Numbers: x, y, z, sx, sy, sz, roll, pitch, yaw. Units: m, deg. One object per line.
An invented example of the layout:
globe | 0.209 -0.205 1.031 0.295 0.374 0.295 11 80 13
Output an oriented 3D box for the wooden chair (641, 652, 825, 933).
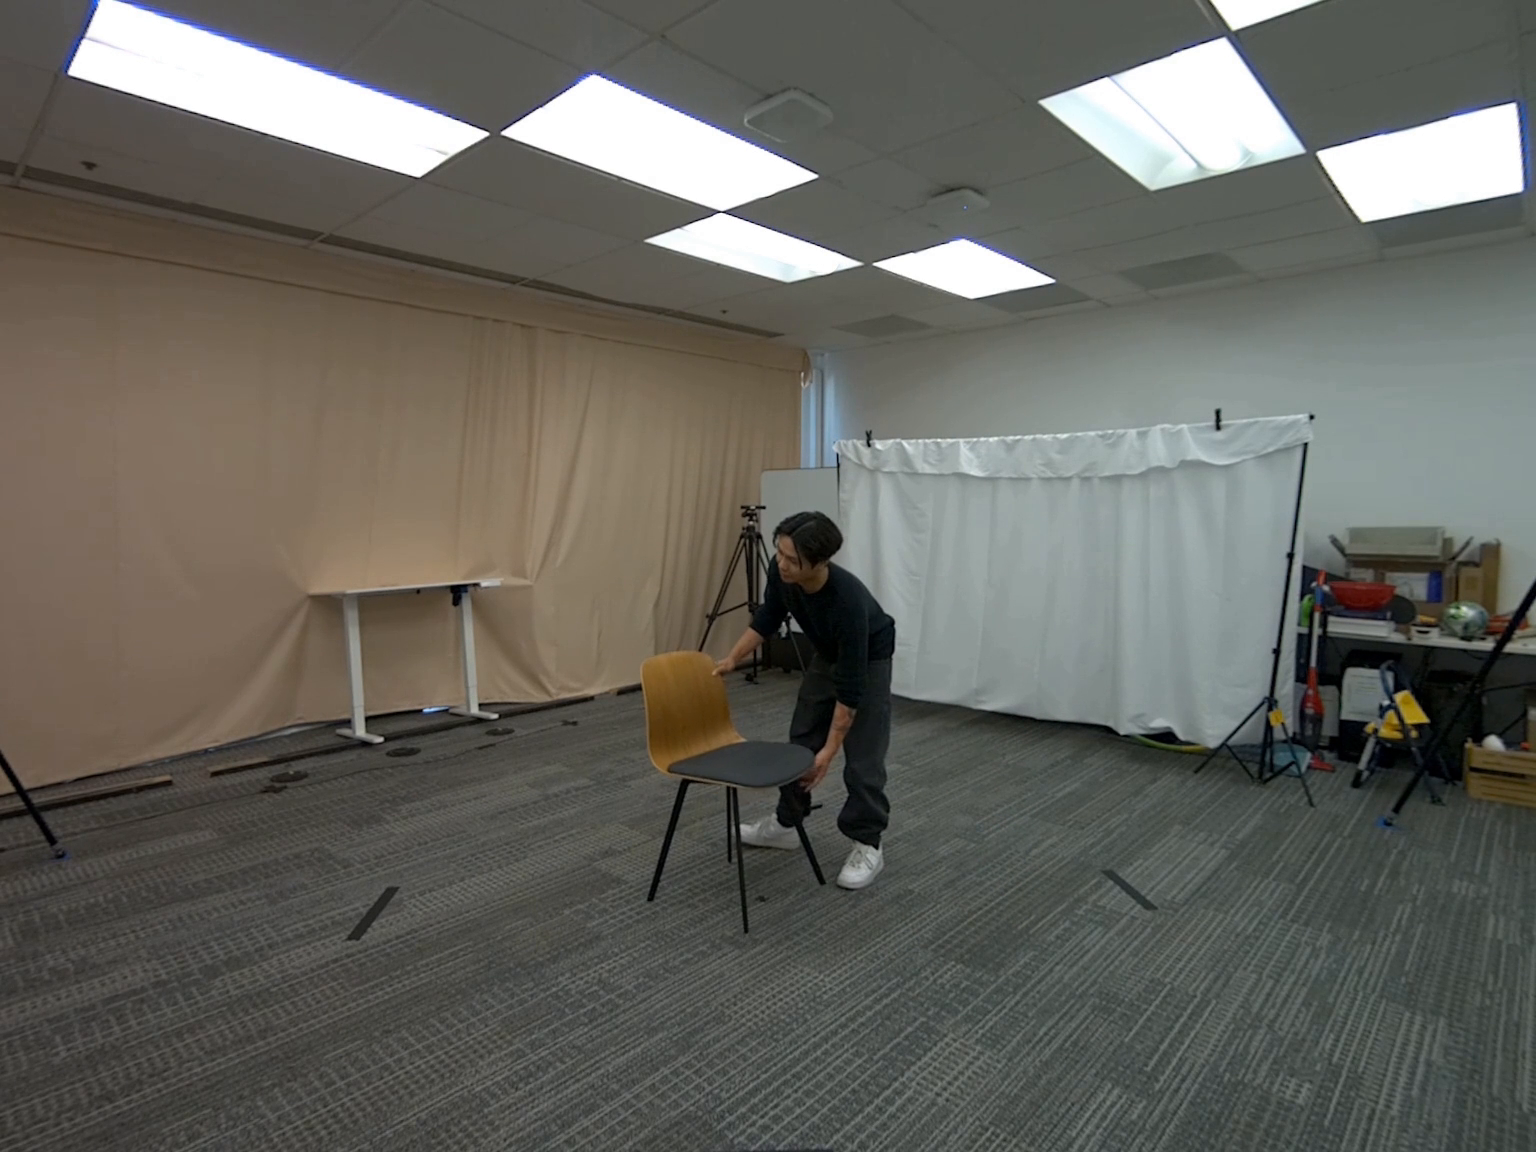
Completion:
wooden chair | -0.133 0.702 2.974 0.538 0.879 0.464 -10 -4 39
